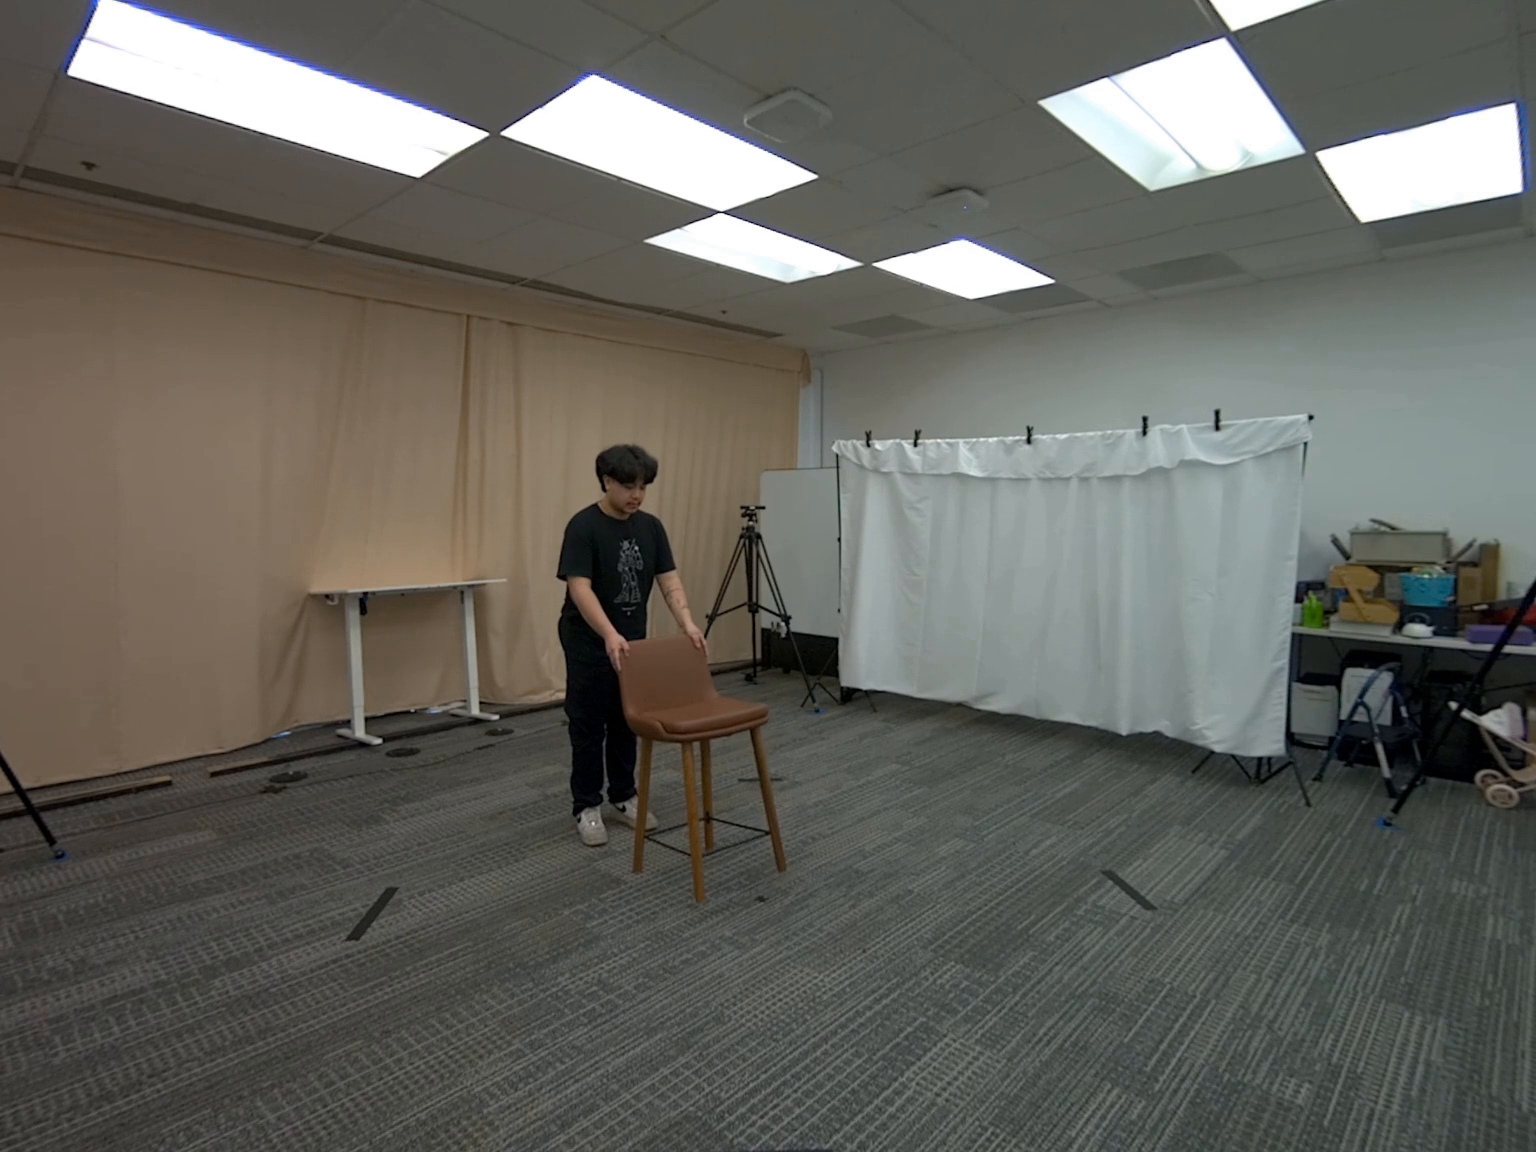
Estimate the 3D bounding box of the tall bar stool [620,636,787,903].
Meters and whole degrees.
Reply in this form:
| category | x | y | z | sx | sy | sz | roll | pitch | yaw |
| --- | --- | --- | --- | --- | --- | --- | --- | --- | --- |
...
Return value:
| category | x | y | z | sx | sy | sz | roll | pitch | yaw |
| --- | --- | --- | --- | --- | --- | --- | --- | --- | --- |
| tall bar stool | -0.268 | 0.676 | 3.169 | 0.443 | 0.891 | 0.481 | -4 | -3 | -40 |
